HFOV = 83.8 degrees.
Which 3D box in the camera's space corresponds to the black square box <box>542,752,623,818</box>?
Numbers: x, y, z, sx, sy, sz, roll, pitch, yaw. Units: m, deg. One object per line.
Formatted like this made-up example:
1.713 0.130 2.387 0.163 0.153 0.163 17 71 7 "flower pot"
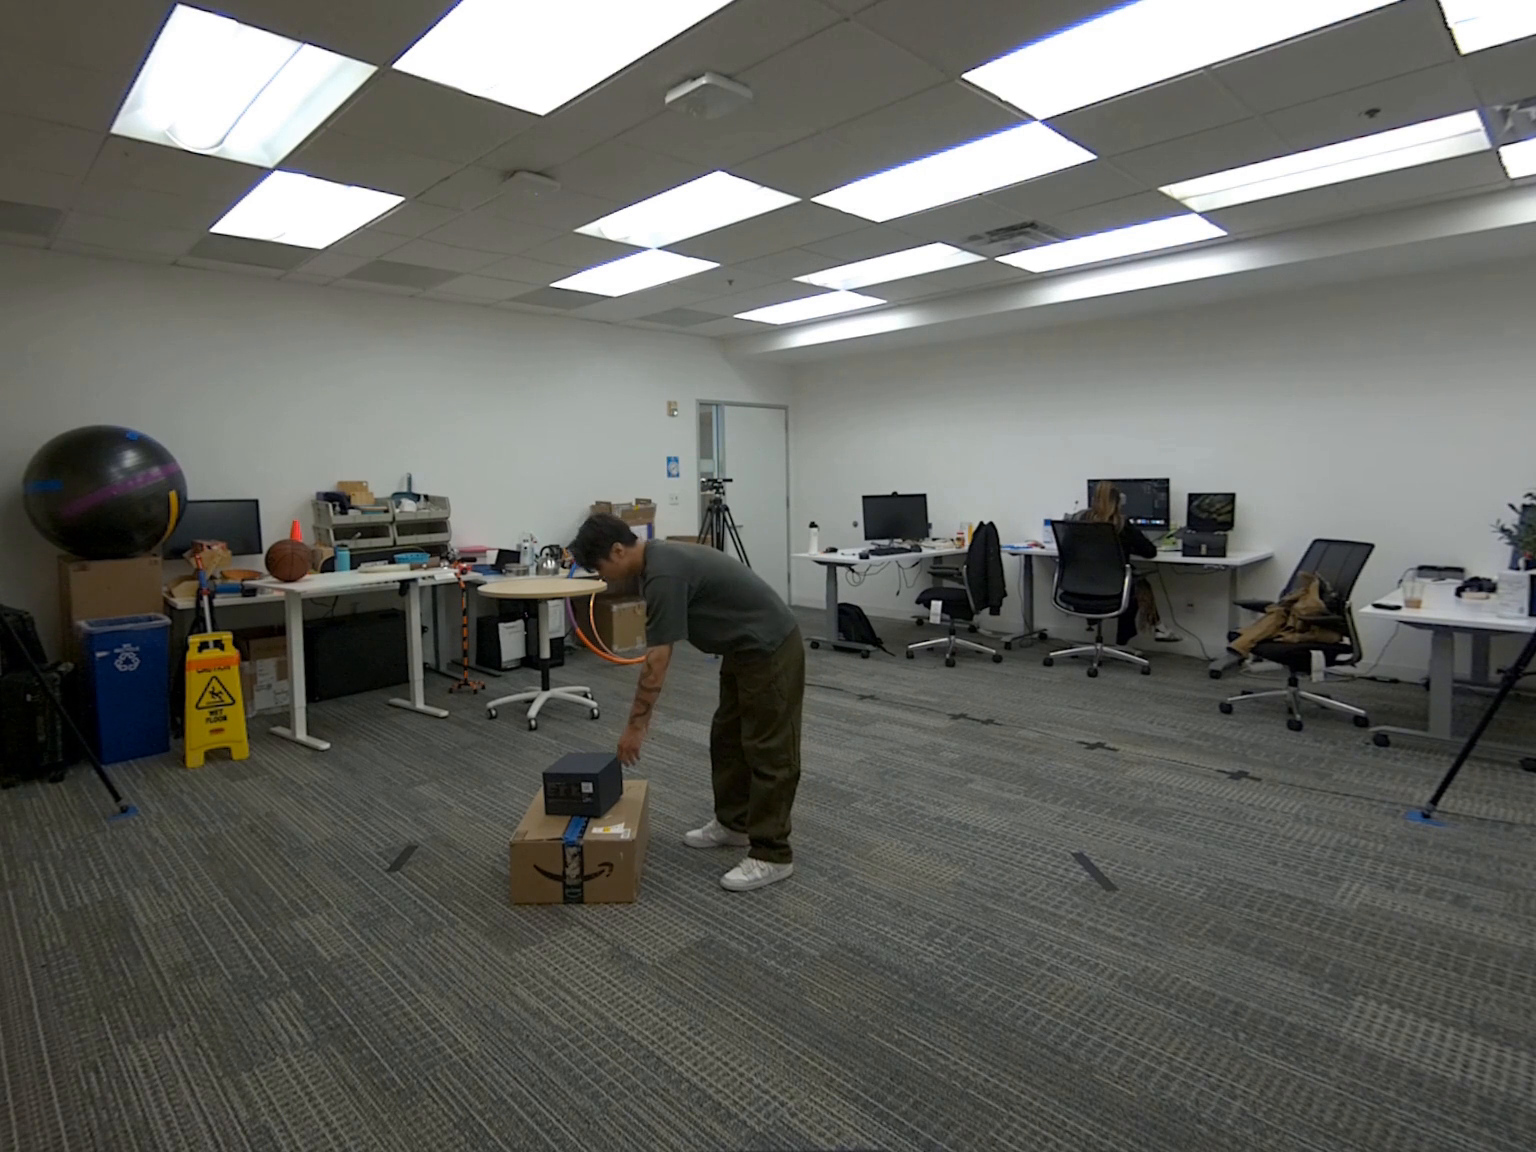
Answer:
-0.668 0.754 3.114 0.219 0.155 0.226 -2 5 12 "black square box"
